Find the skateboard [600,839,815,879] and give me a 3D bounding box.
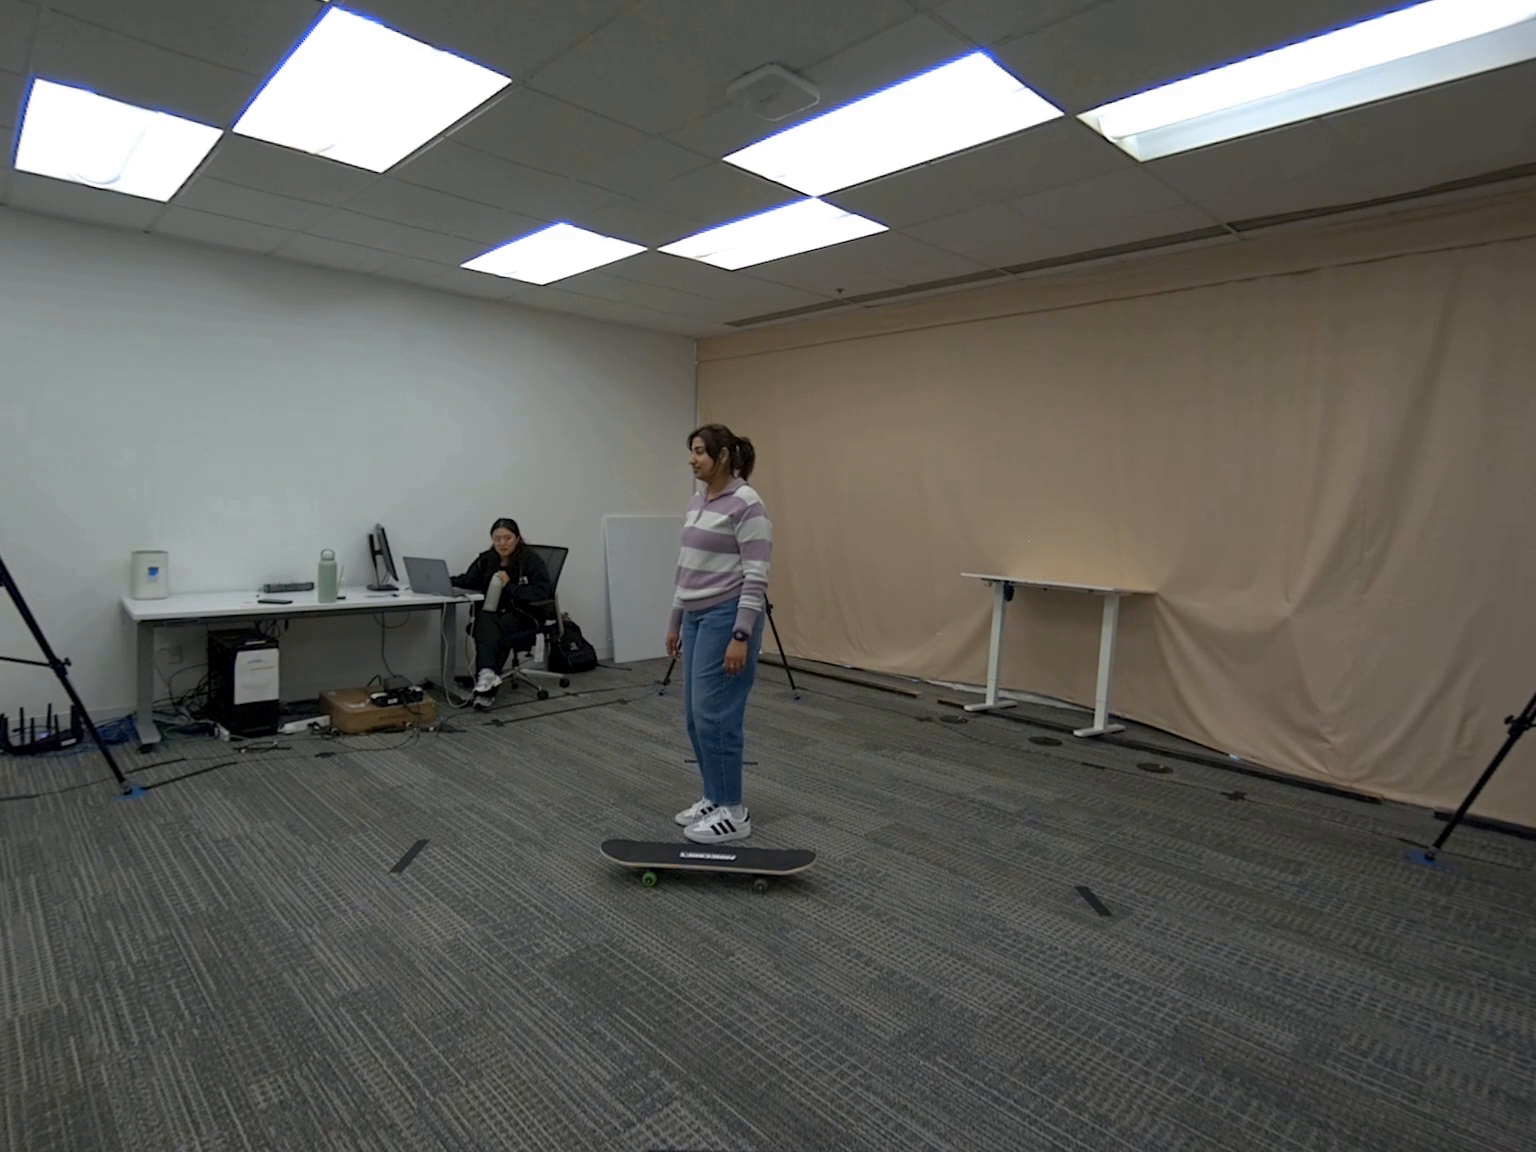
[{"bbox_3d":[-0.226,1.044,3.060,0.789,0.110,0.193,1,4,5],"label":"skateboard"}]
